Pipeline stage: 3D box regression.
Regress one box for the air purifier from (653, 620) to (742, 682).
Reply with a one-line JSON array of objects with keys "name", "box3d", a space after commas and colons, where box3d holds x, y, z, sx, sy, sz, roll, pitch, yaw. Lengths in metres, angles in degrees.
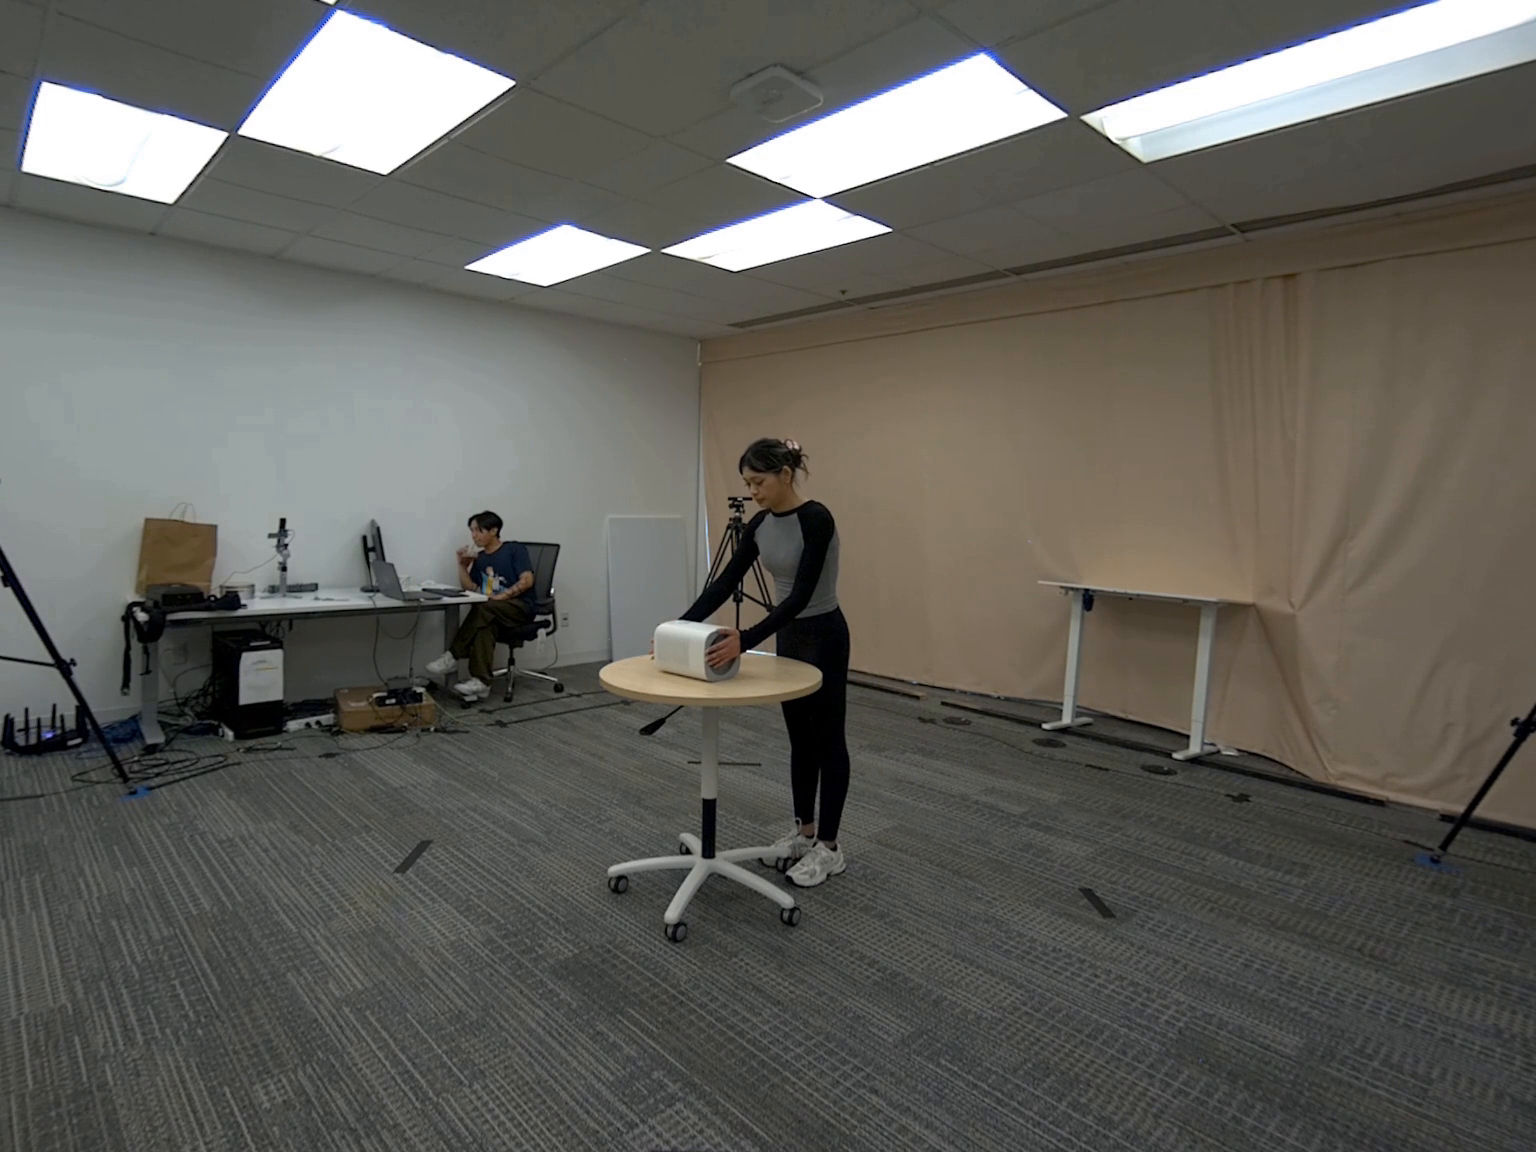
[{"name": "air purifier", "box3d": [-0.252, 0.247, 2.849, 0.272, 0.171, 0.167, 5, 8, 41]}]
